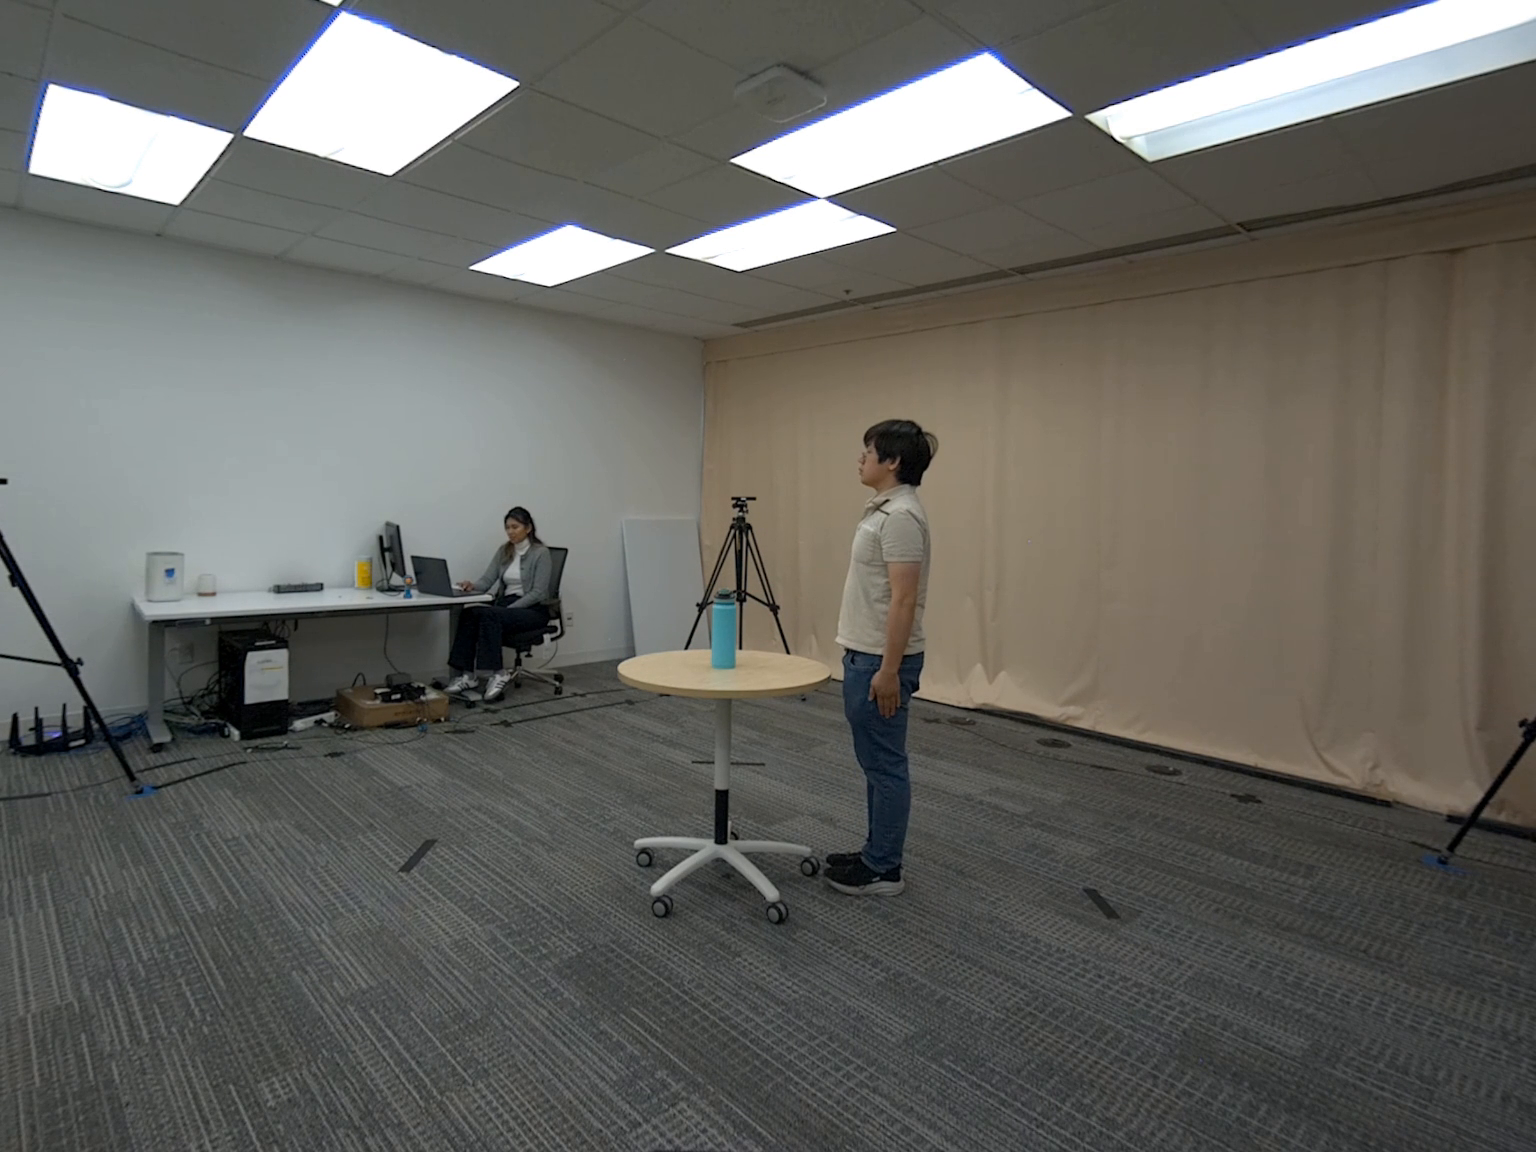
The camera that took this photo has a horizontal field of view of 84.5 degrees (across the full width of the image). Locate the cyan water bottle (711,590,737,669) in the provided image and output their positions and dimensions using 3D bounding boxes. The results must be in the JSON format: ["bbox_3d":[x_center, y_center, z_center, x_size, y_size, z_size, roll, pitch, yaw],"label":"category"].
[{"bbox_3d":[-0.159,0.191,3.035,0.092,0.282,0.093,2,4,-2],"label":"cyan water bottle"}]
